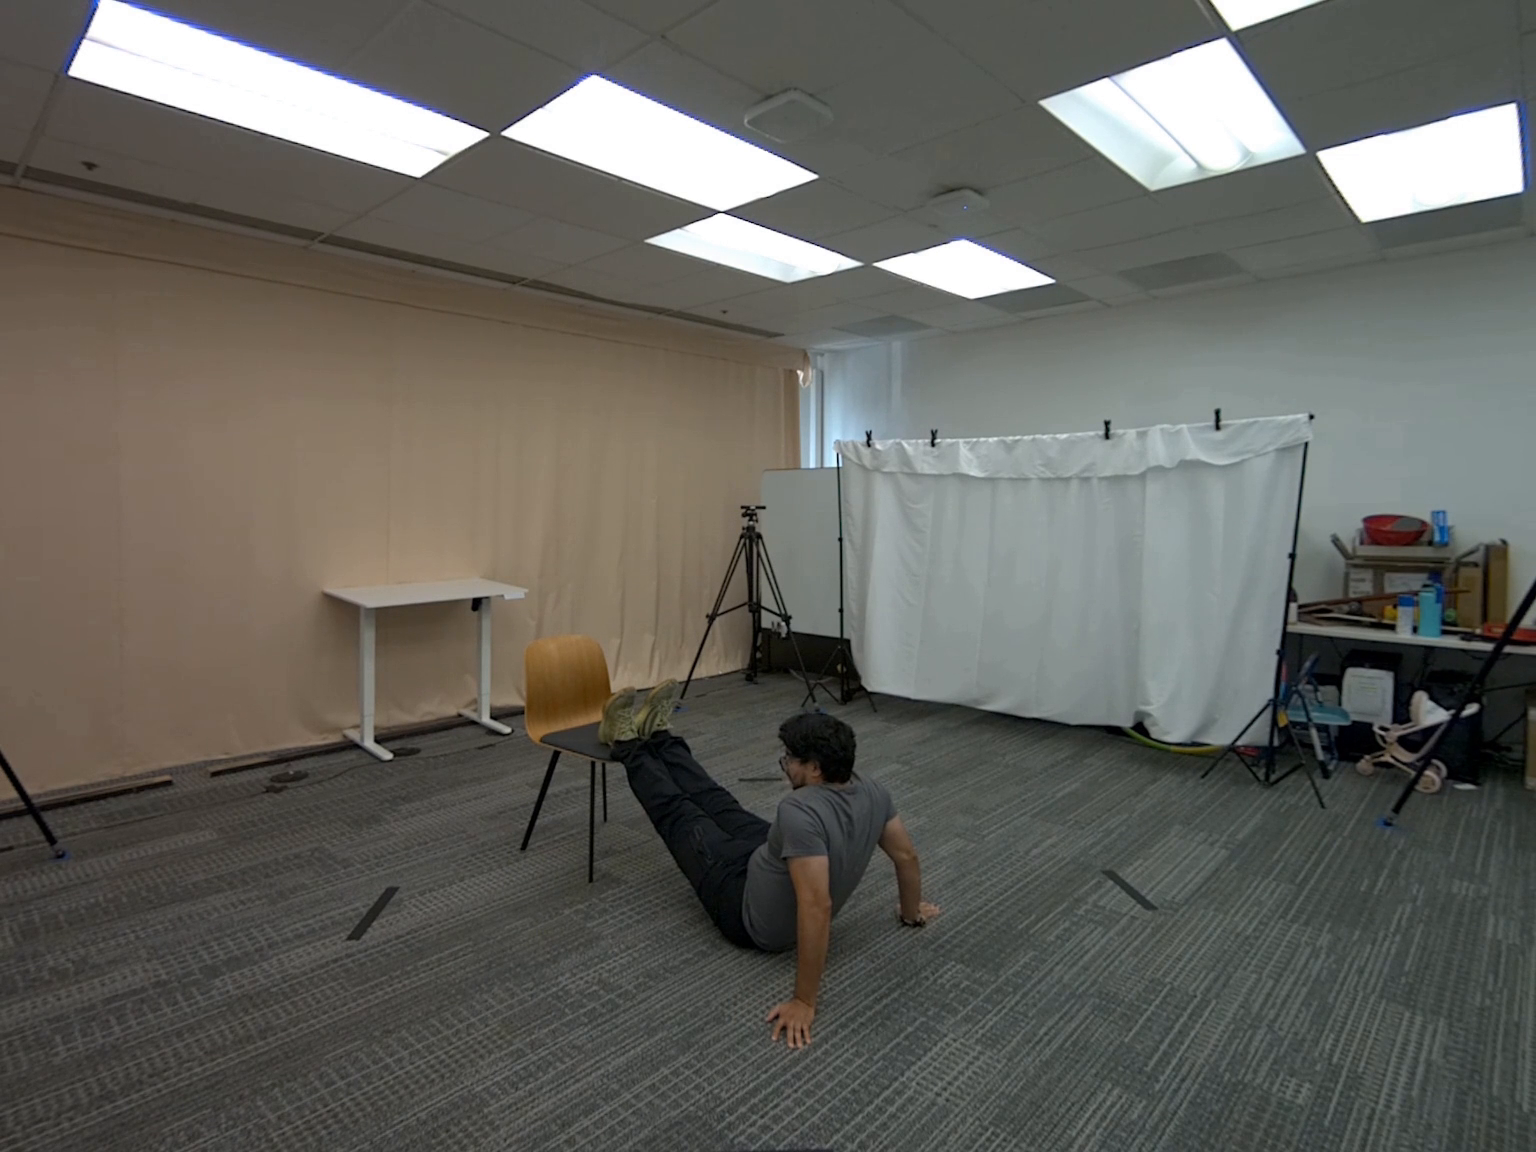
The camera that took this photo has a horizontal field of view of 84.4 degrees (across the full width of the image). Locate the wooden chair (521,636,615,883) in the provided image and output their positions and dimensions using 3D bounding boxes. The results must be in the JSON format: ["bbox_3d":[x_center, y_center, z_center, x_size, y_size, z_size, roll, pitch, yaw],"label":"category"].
[{"bbox_3d":[-0.689,0.690,3.401,0.539,0.877,0.463,-3,1,42],"label":"wooden chair"}]
